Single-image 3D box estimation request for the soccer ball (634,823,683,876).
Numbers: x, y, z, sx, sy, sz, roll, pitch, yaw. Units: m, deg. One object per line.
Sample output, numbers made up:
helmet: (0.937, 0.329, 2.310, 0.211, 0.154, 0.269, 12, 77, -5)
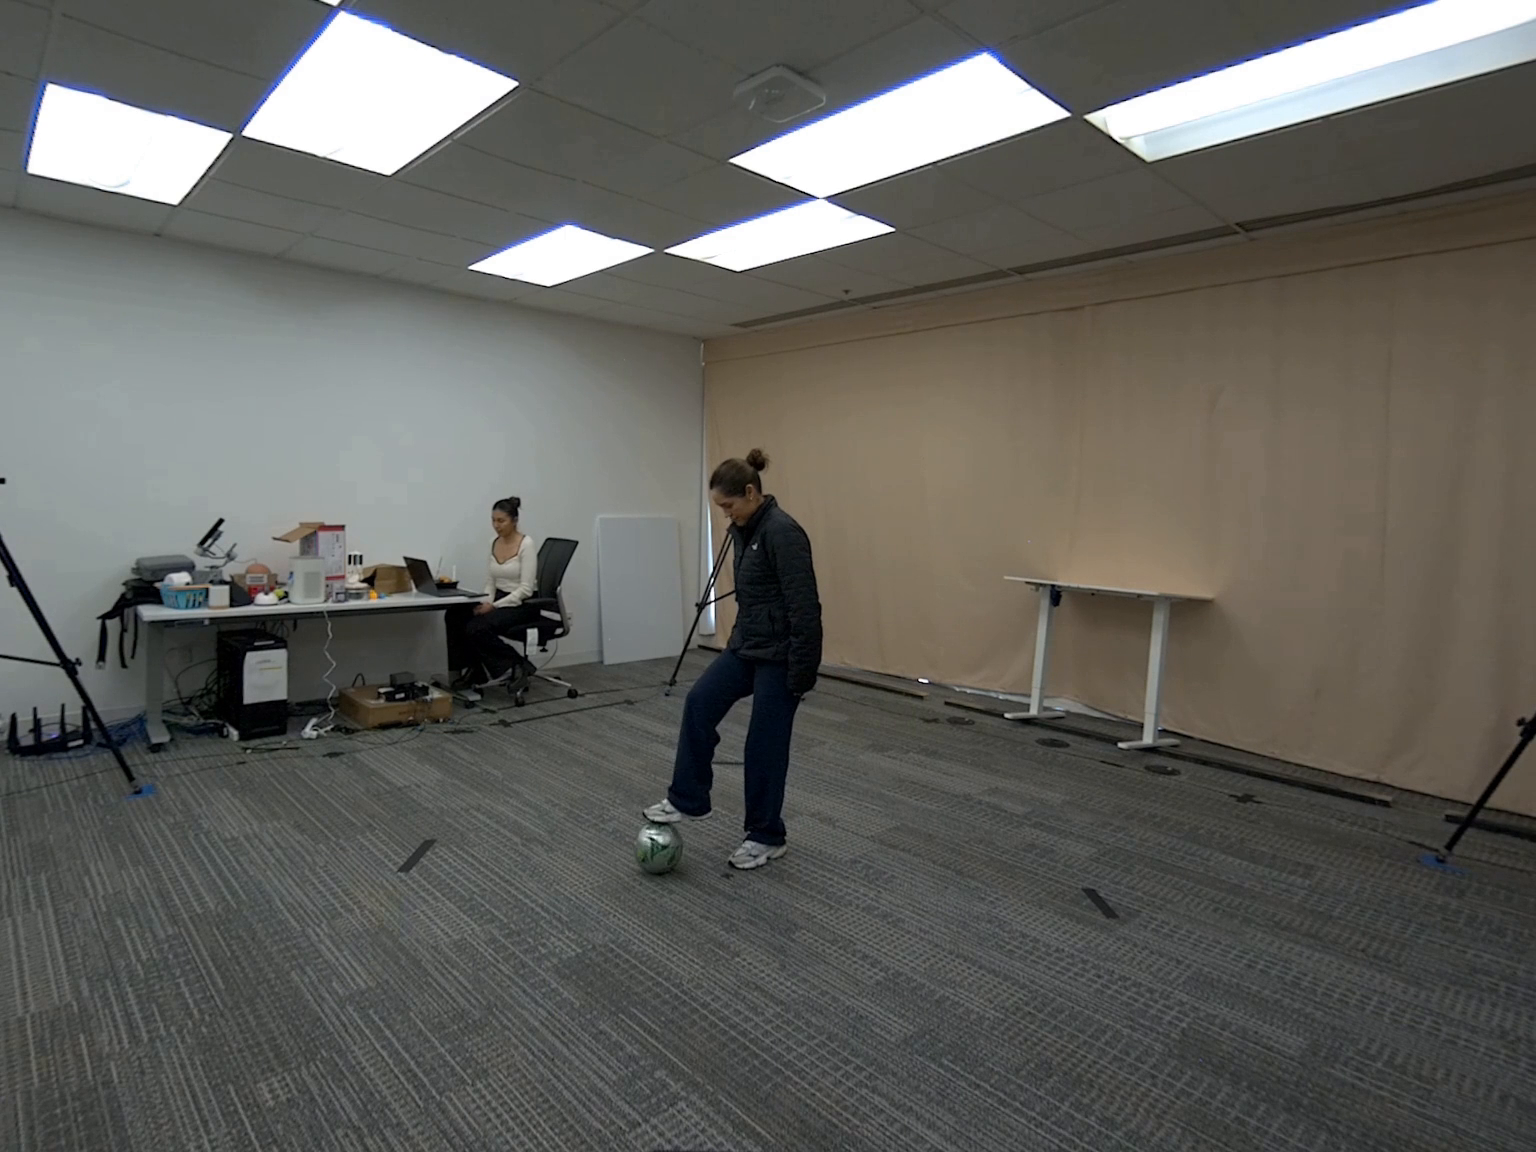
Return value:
soccer ball: (-0.416, 1.004, 3.135, 0.187, 0.187, 0.188, 1, 4, -1)
